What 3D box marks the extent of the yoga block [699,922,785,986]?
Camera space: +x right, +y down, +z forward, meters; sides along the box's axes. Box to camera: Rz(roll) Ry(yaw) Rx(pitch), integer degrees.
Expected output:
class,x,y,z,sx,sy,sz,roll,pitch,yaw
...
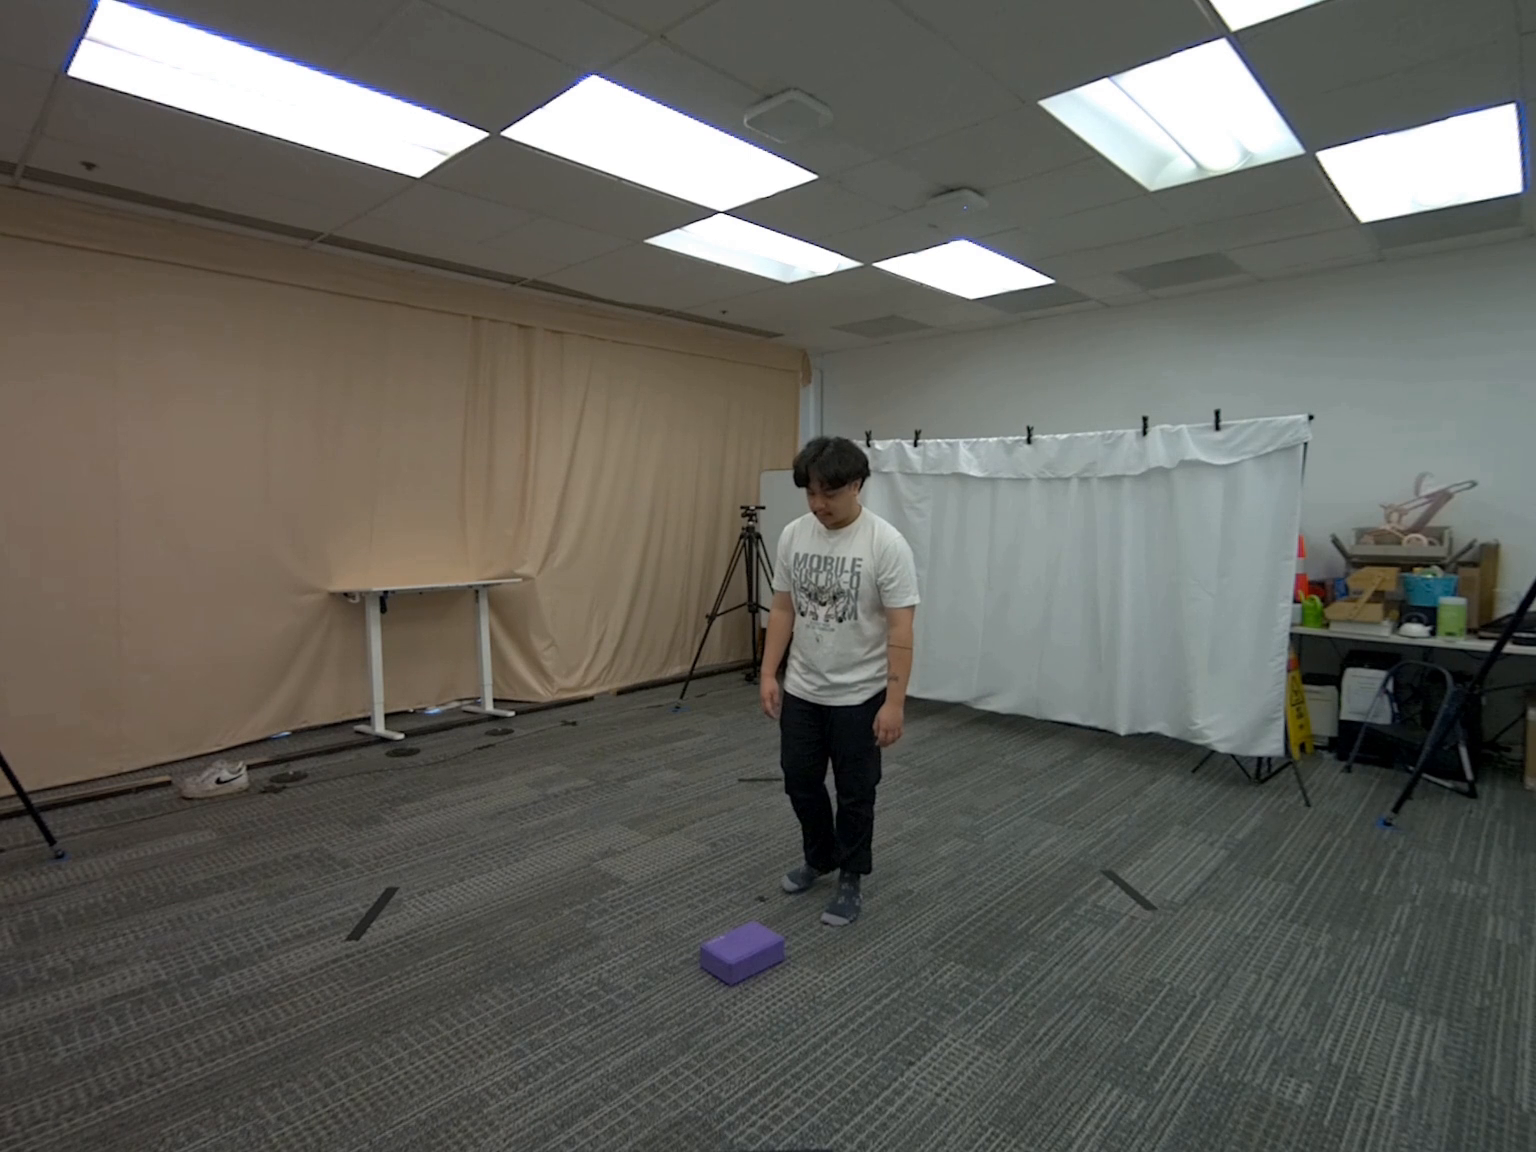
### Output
class,x,y,z,sx,sy,sz,roll,pitch,yaw
yoga block,-0.074,1.144,2.553,0.222,0.076,0.154,-4,6,-43
